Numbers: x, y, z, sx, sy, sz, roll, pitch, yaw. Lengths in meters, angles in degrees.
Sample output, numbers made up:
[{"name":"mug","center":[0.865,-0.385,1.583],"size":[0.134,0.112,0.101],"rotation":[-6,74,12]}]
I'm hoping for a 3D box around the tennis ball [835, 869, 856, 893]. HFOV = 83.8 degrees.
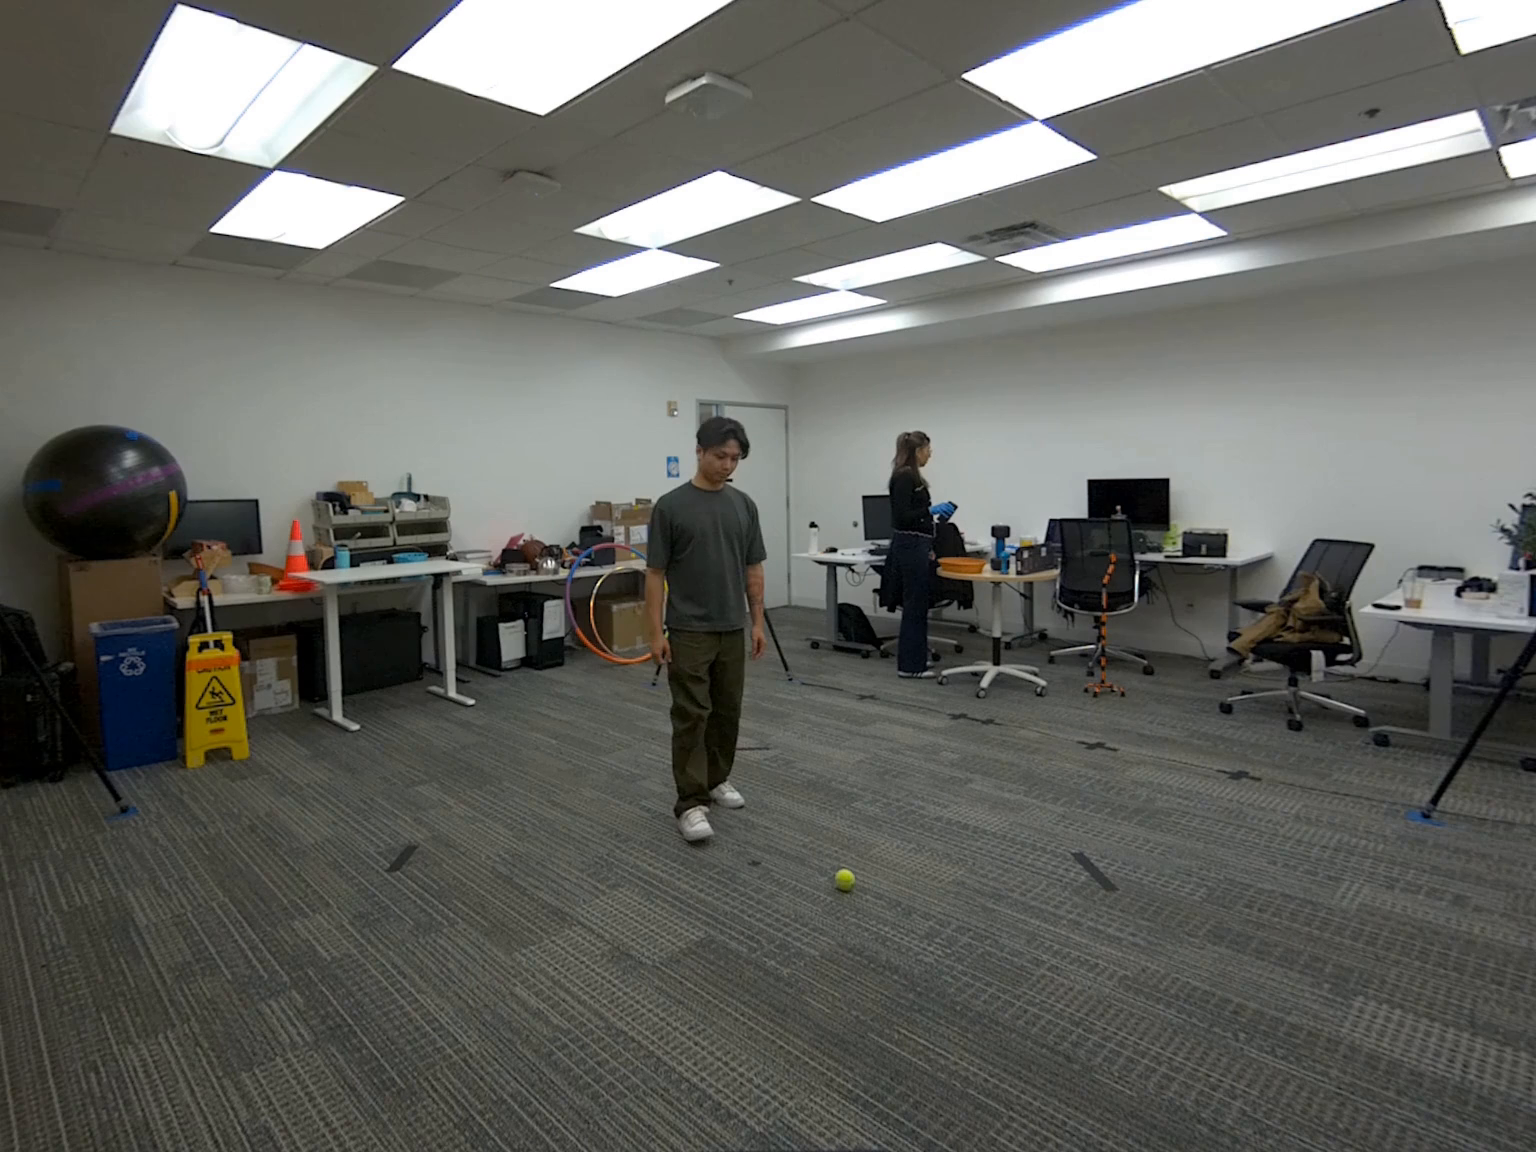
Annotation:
[{"name":"tennis ball","center":[0.273,1.019,2.893],"size":[0.066,0.066,0.067],"rotation":[-1,5,-2]}]
